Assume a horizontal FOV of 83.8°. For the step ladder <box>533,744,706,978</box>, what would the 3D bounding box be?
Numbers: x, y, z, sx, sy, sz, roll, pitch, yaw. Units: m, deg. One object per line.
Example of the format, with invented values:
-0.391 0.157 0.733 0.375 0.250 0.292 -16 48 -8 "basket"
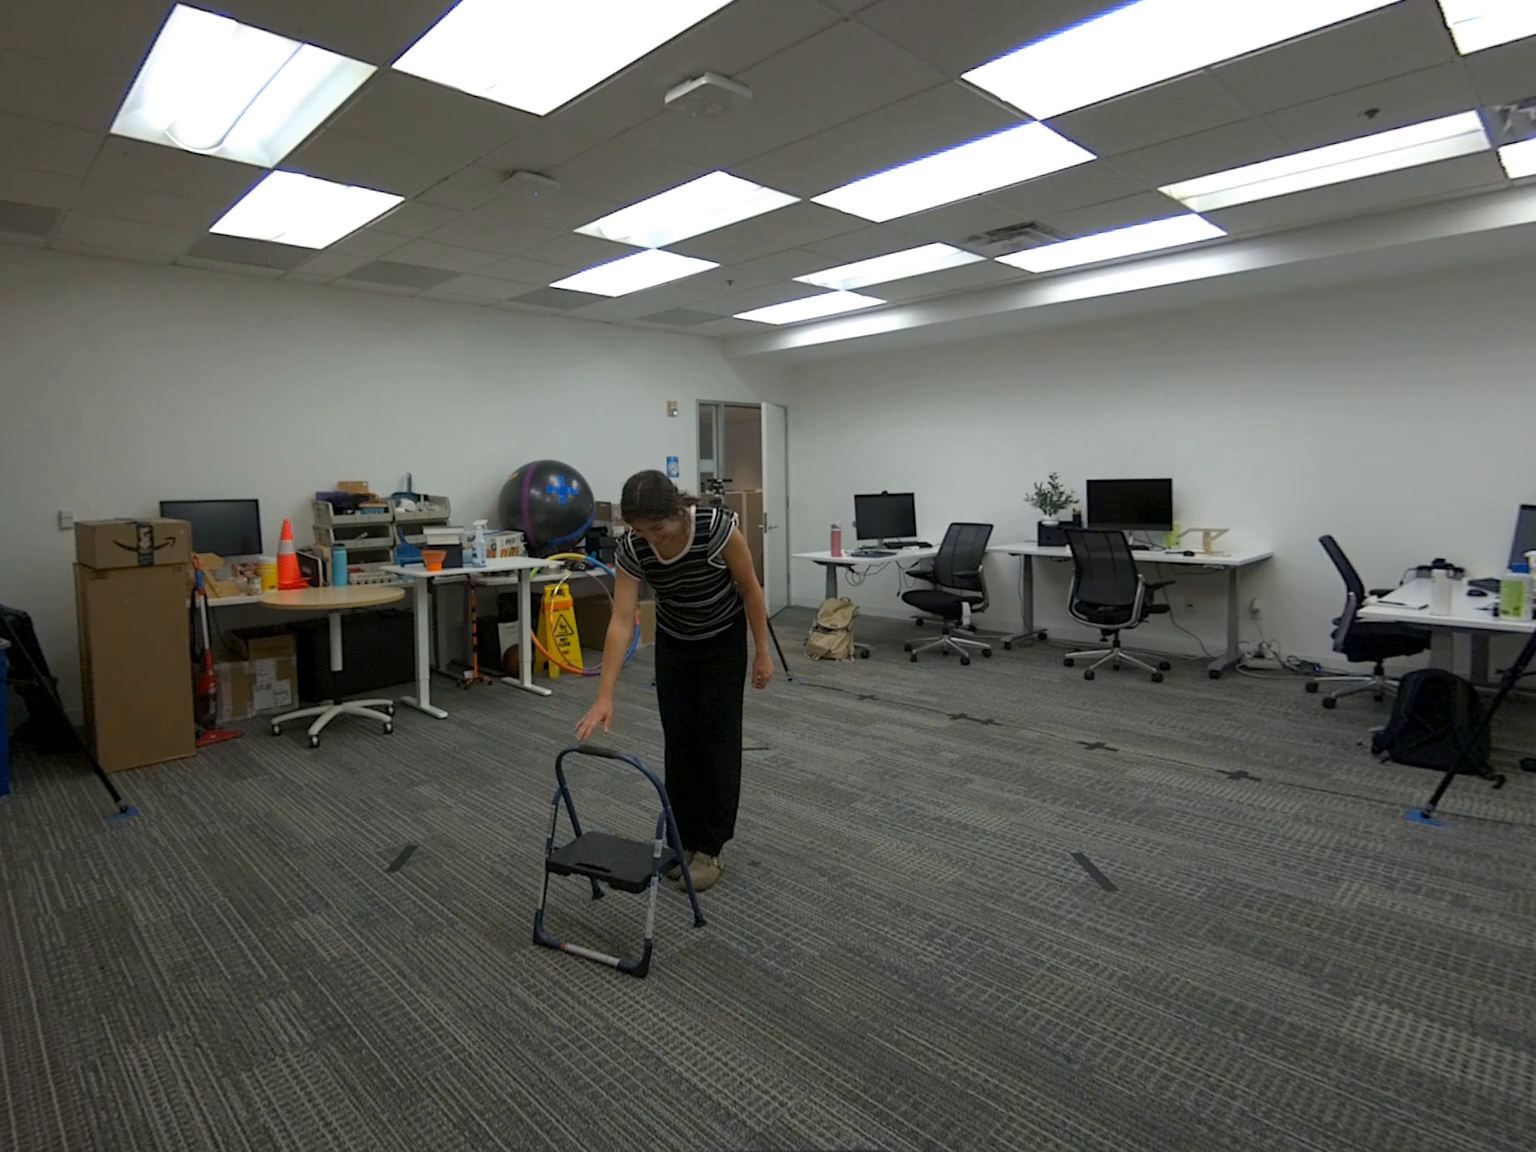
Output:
-0.464 0.806 2.629 0.441 0.603 0.342 1 5 27 "step ladder"
